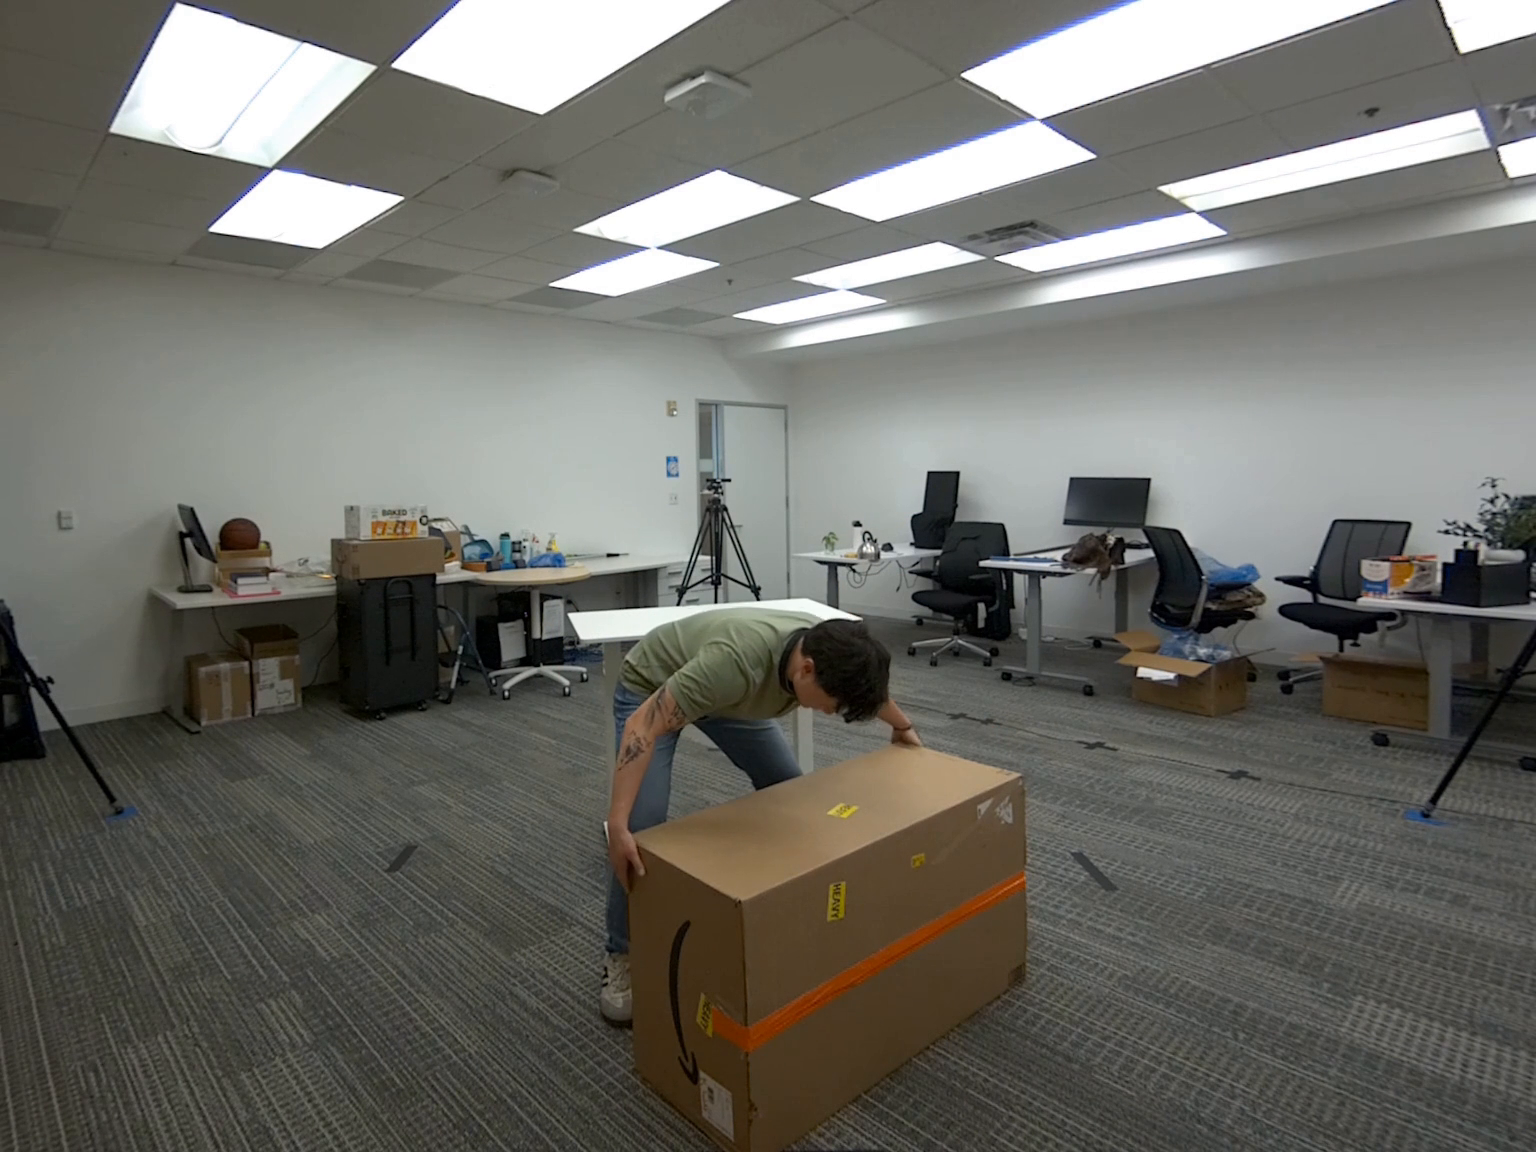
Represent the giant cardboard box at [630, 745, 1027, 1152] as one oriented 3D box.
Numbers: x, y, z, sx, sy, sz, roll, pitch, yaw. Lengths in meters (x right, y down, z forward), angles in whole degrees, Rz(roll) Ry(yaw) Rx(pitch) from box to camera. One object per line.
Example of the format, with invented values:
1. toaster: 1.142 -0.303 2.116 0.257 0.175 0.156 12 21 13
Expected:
1. giant cardboard box: 0.191 0.861 2.176 1.000 0.575 0.439 -7 6 -40
